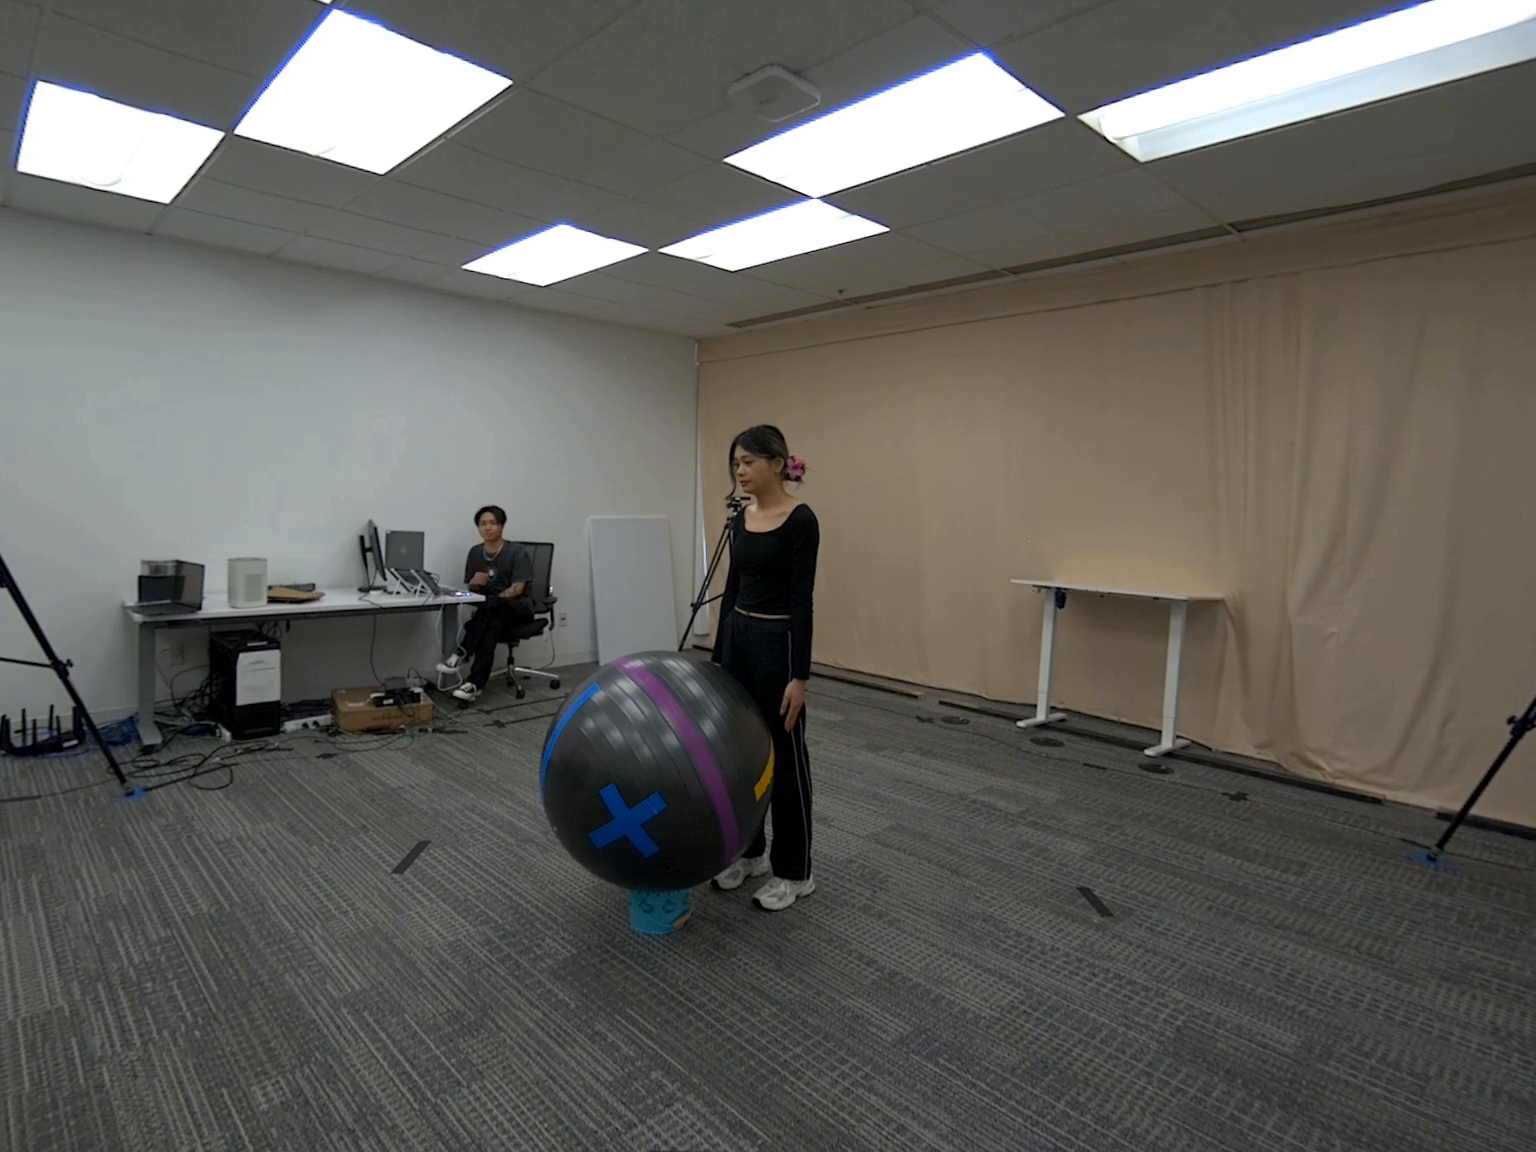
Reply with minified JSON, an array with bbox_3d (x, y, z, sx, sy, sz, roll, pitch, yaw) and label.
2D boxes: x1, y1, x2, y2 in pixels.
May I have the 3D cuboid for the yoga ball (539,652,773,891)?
[{"bbox_3d":[-0.355,0.633,2.734,0.757,0.756,0.761,1,4,-1],"label":"yoga ball"}]
